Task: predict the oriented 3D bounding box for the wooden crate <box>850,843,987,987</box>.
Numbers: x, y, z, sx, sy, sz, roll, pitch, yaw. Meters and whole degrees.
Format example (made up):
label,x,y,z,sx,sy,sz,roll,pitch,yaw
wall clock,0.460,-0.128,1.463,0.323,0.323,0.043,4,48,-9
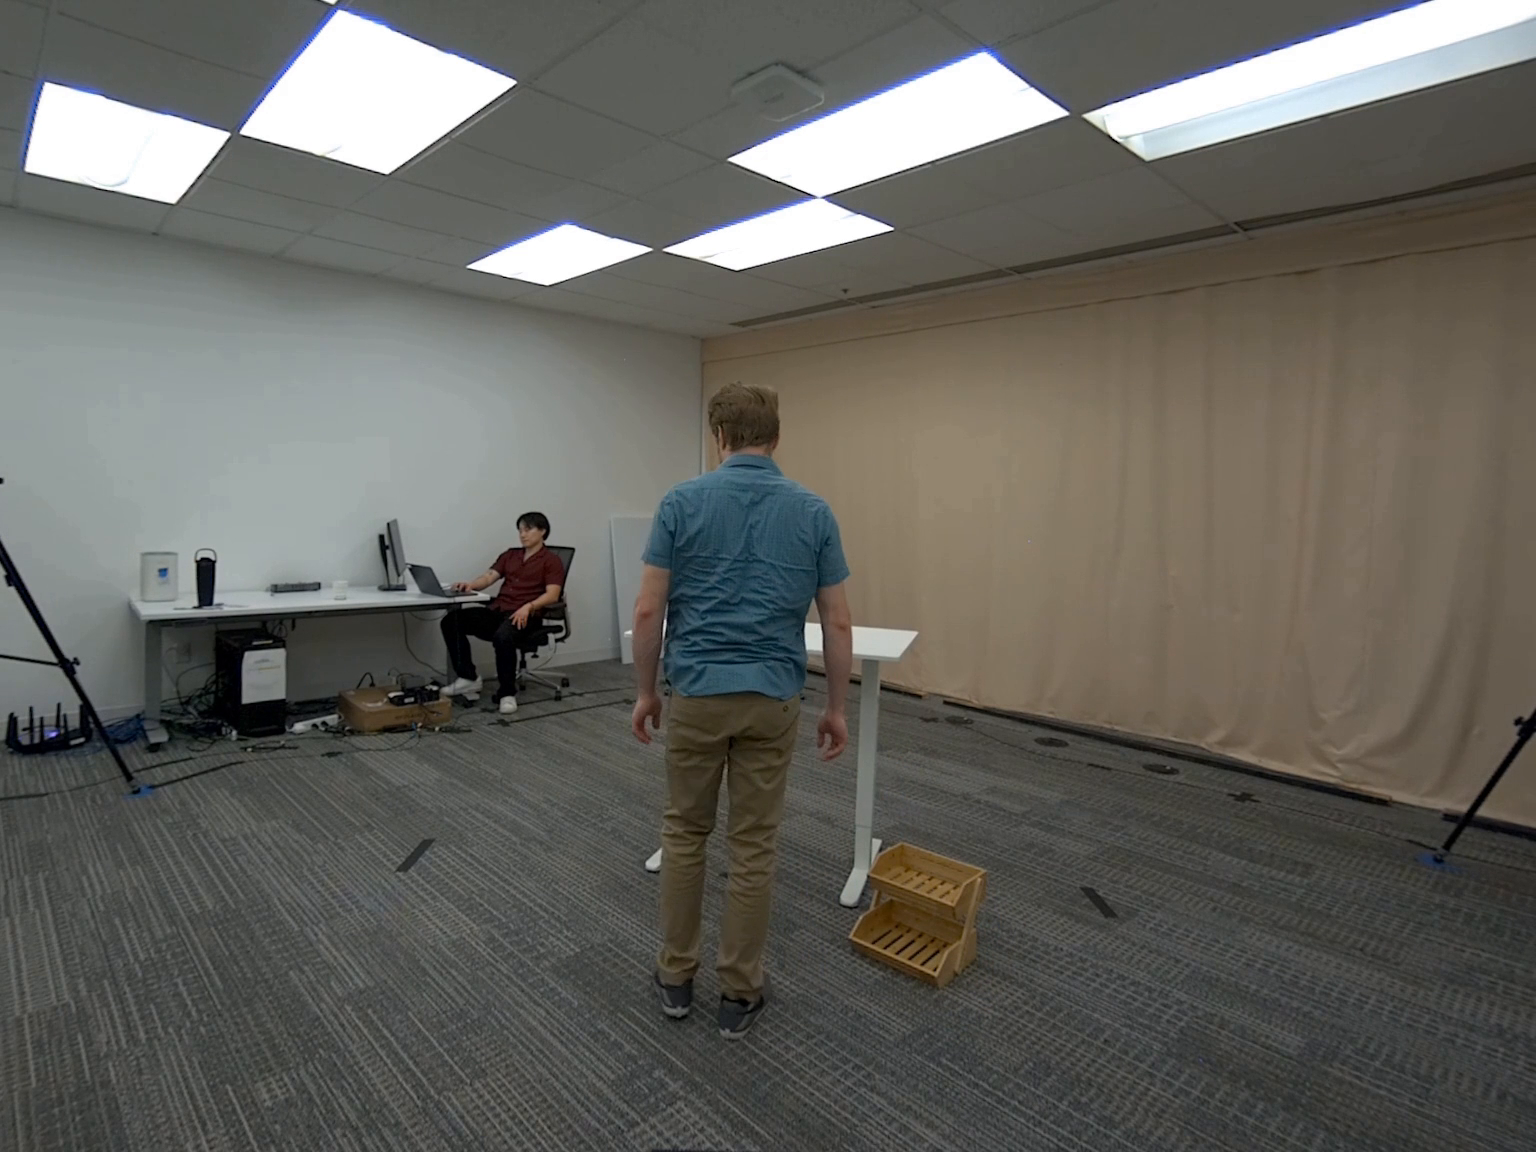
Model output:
label,x,y,z,sx,sy,sz,roll,pitch,yaw
wooden crate,0.458,1.032,2.598,0.332,0.273,0.295,5,5,40
